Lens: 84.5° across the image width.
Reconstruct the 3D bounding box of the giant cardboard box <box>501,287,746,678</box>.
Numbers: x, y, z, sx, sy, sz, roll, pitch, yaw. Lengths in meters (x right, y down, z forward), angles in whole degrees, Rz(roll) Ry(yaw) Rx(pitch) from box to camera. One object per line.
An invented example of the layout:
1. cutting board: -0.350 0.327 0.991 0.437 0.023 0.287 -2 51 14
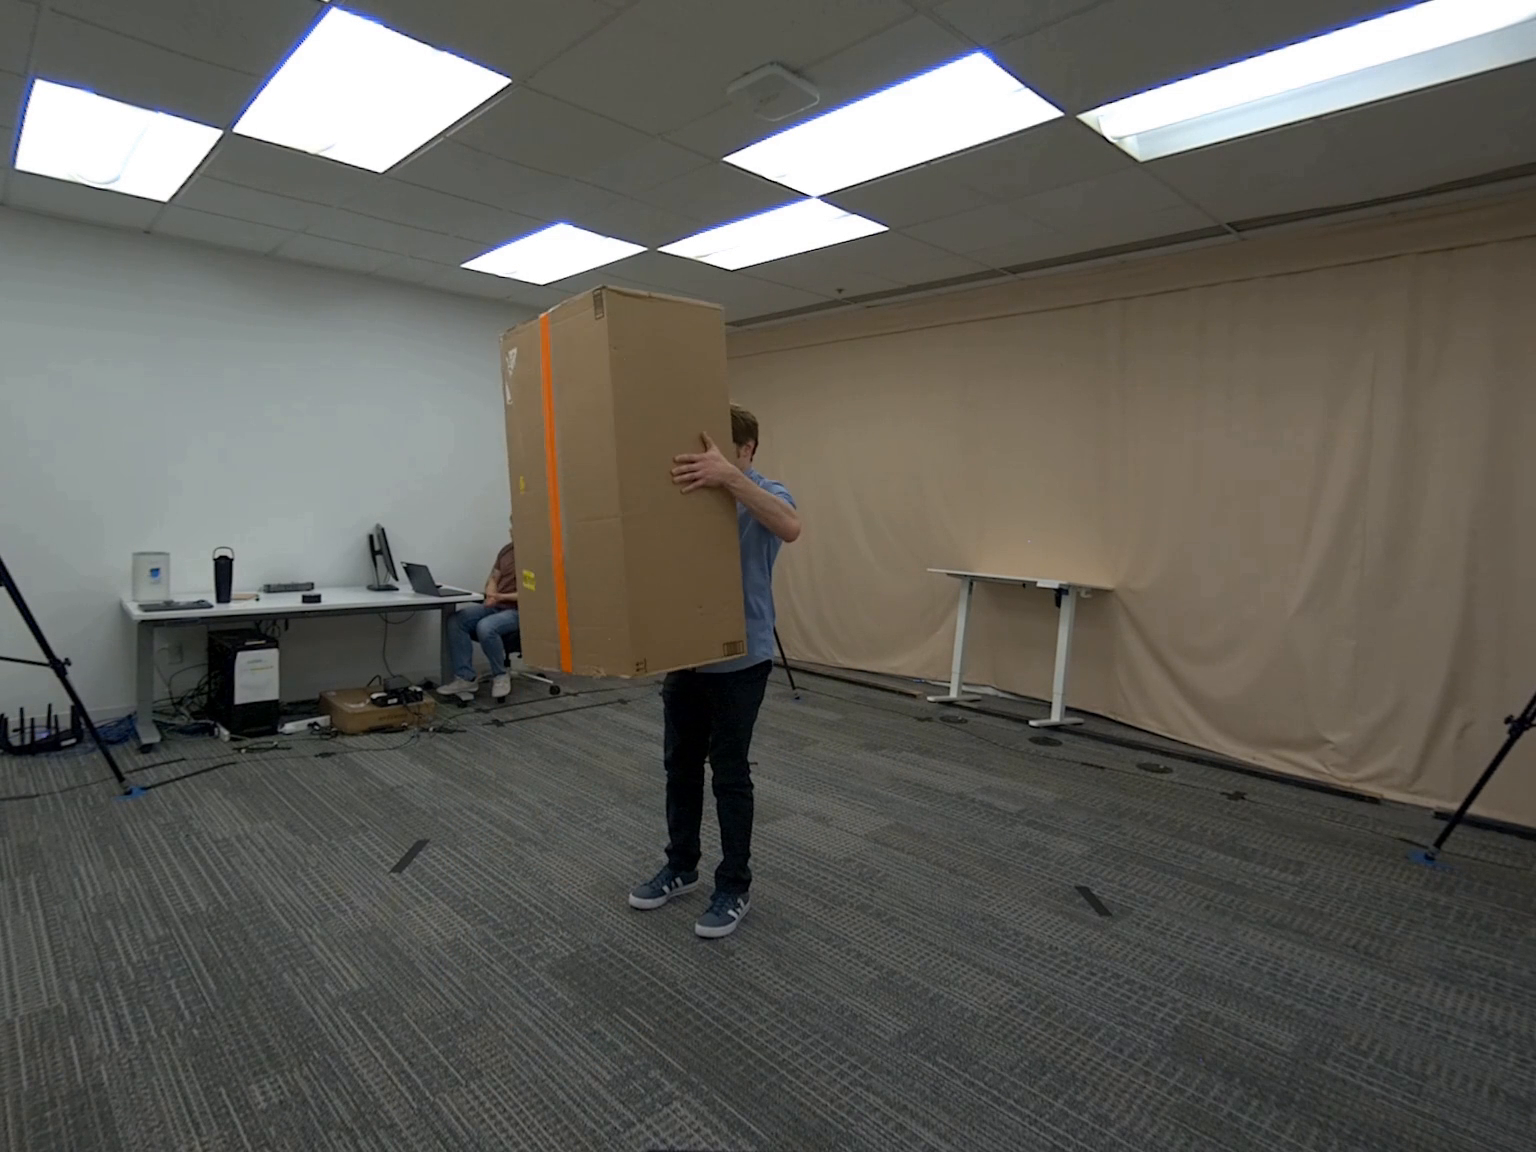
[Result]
1. giant cardboard box: -0.448 -0.243 2.499 0.417 1.026 0.590 -4 0 -43
